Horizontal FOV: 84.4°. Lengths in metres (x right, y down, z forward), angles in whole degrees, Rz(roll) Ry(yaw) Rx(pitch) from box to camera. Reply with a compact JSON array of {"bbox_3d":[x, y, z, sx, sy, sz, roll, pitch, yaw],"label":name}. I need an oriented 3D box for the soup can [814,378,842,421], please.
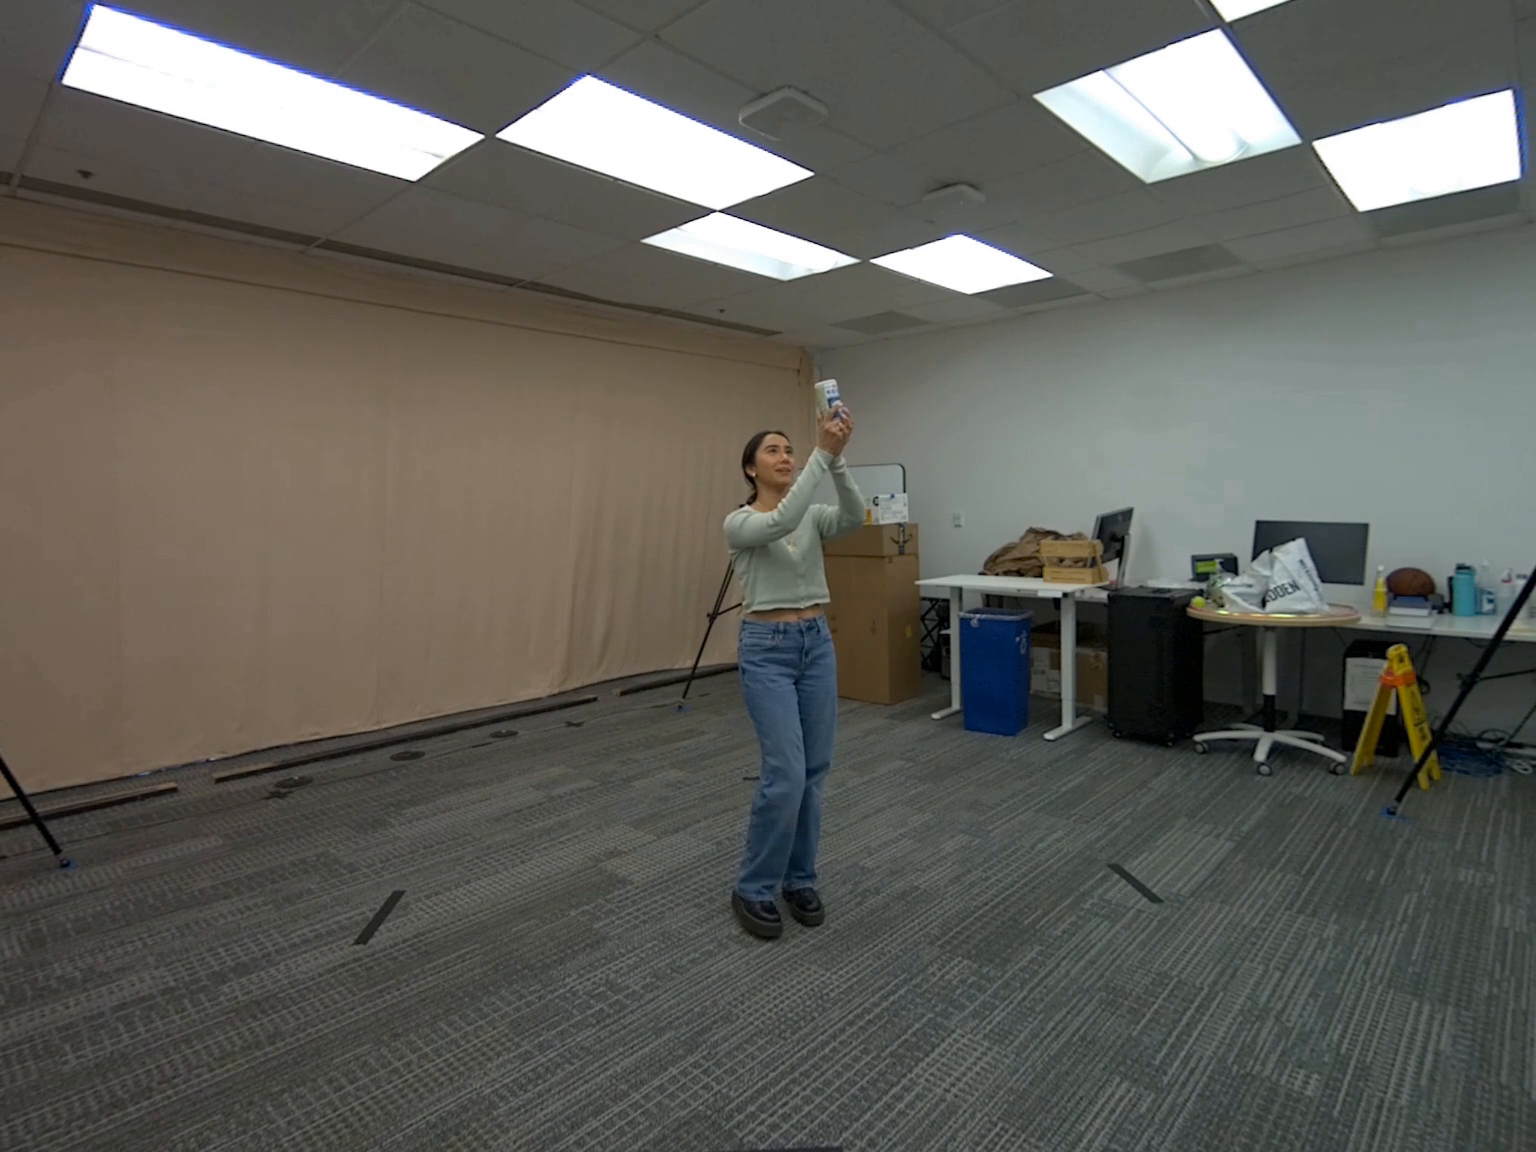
[{"bbox_3d":[0.186,-0.529,2.548,0.067,0.121,0.067,-9,3,-1],"label":"soup can"}]
